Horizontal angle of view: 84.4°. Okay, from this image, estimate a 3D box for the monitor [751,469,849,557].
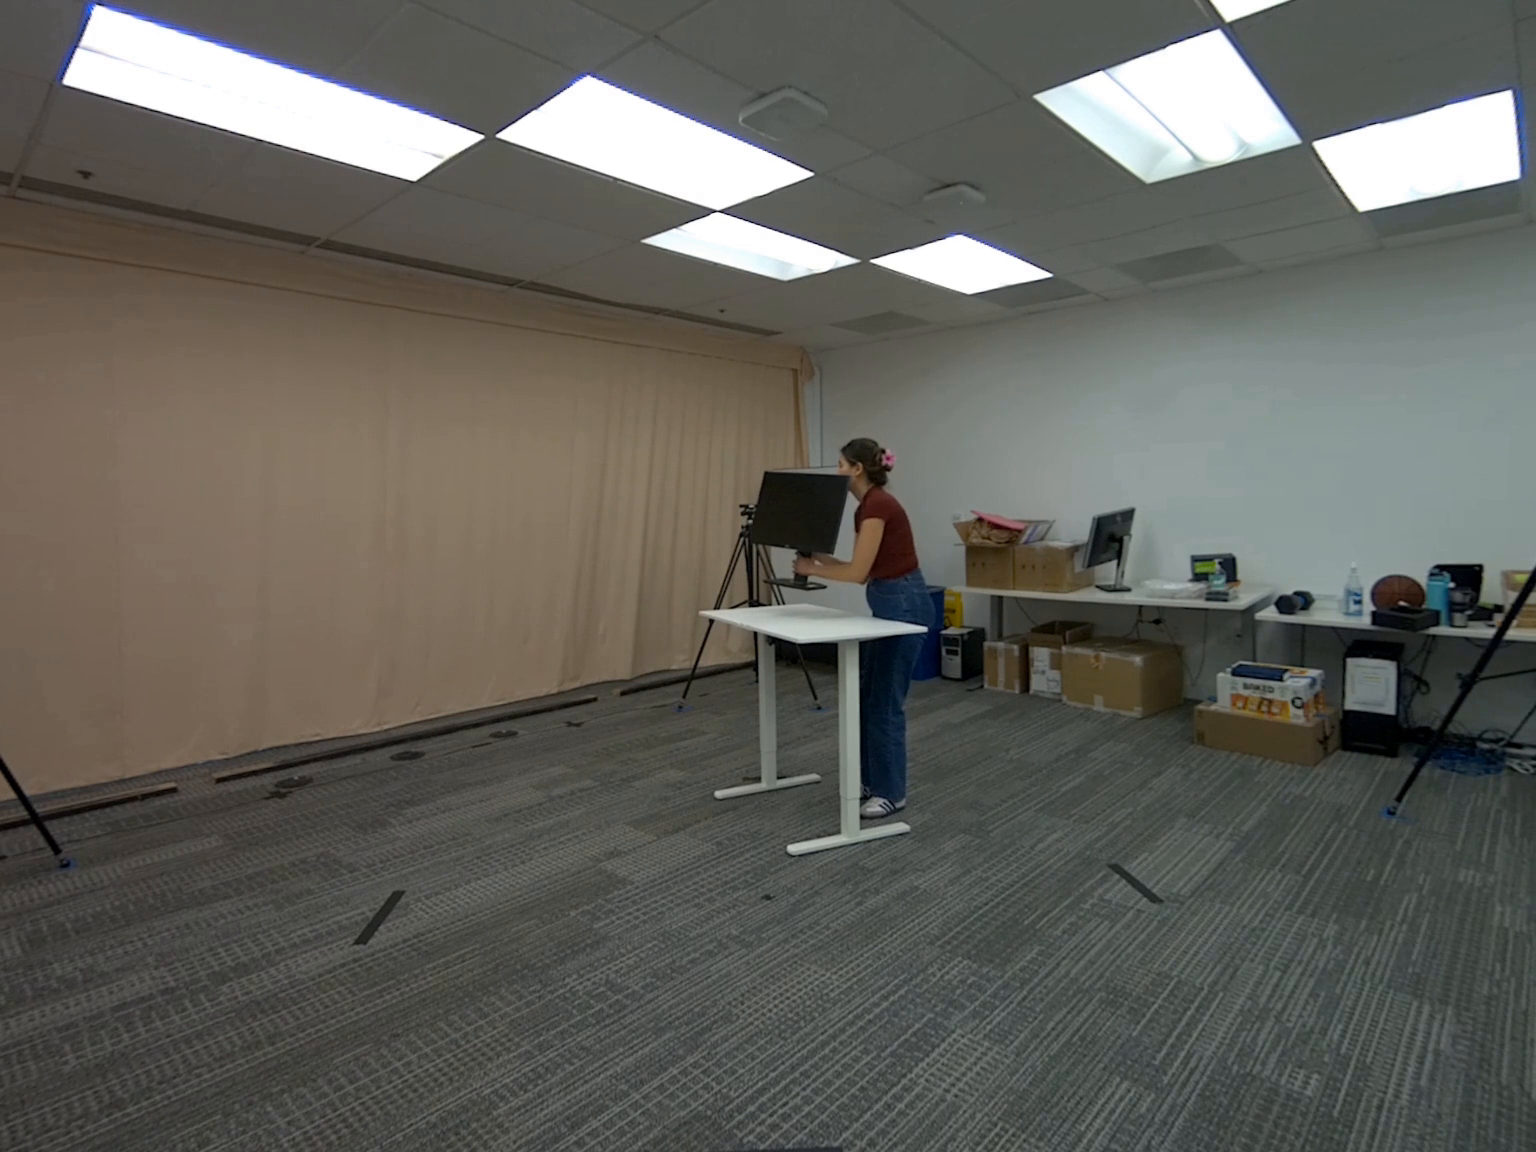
[{"bbox_3d":[0.153,-0.208,3.845,0.181,0.521,0.558,-1,7,-43],"label":"monitor"}]
